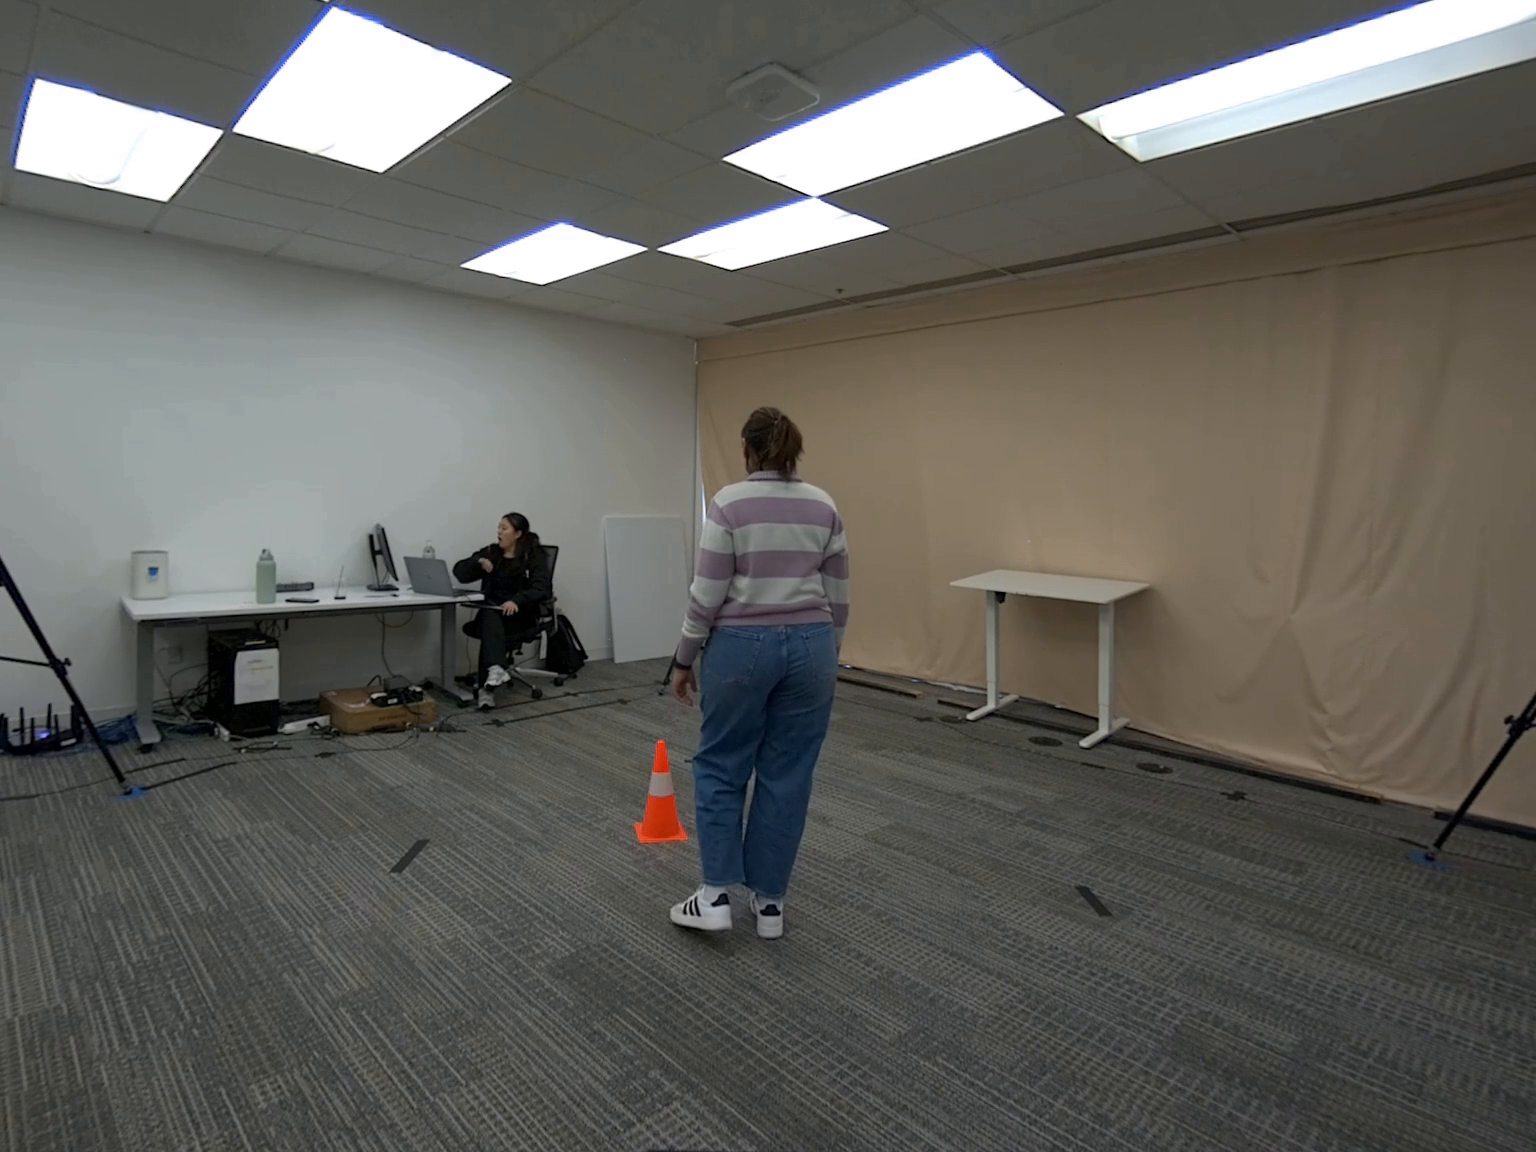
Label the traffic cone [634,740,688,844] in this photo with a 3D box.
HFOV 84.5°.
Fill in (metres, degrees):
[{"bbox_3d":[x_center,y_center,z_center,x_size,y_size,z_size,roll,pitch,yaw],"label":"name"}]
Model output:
[{"bbox_3d":[-0.452,0.880,3.477,0.201,0.382,0.208,-1,5,-13],"label":"traffic cone"}]
